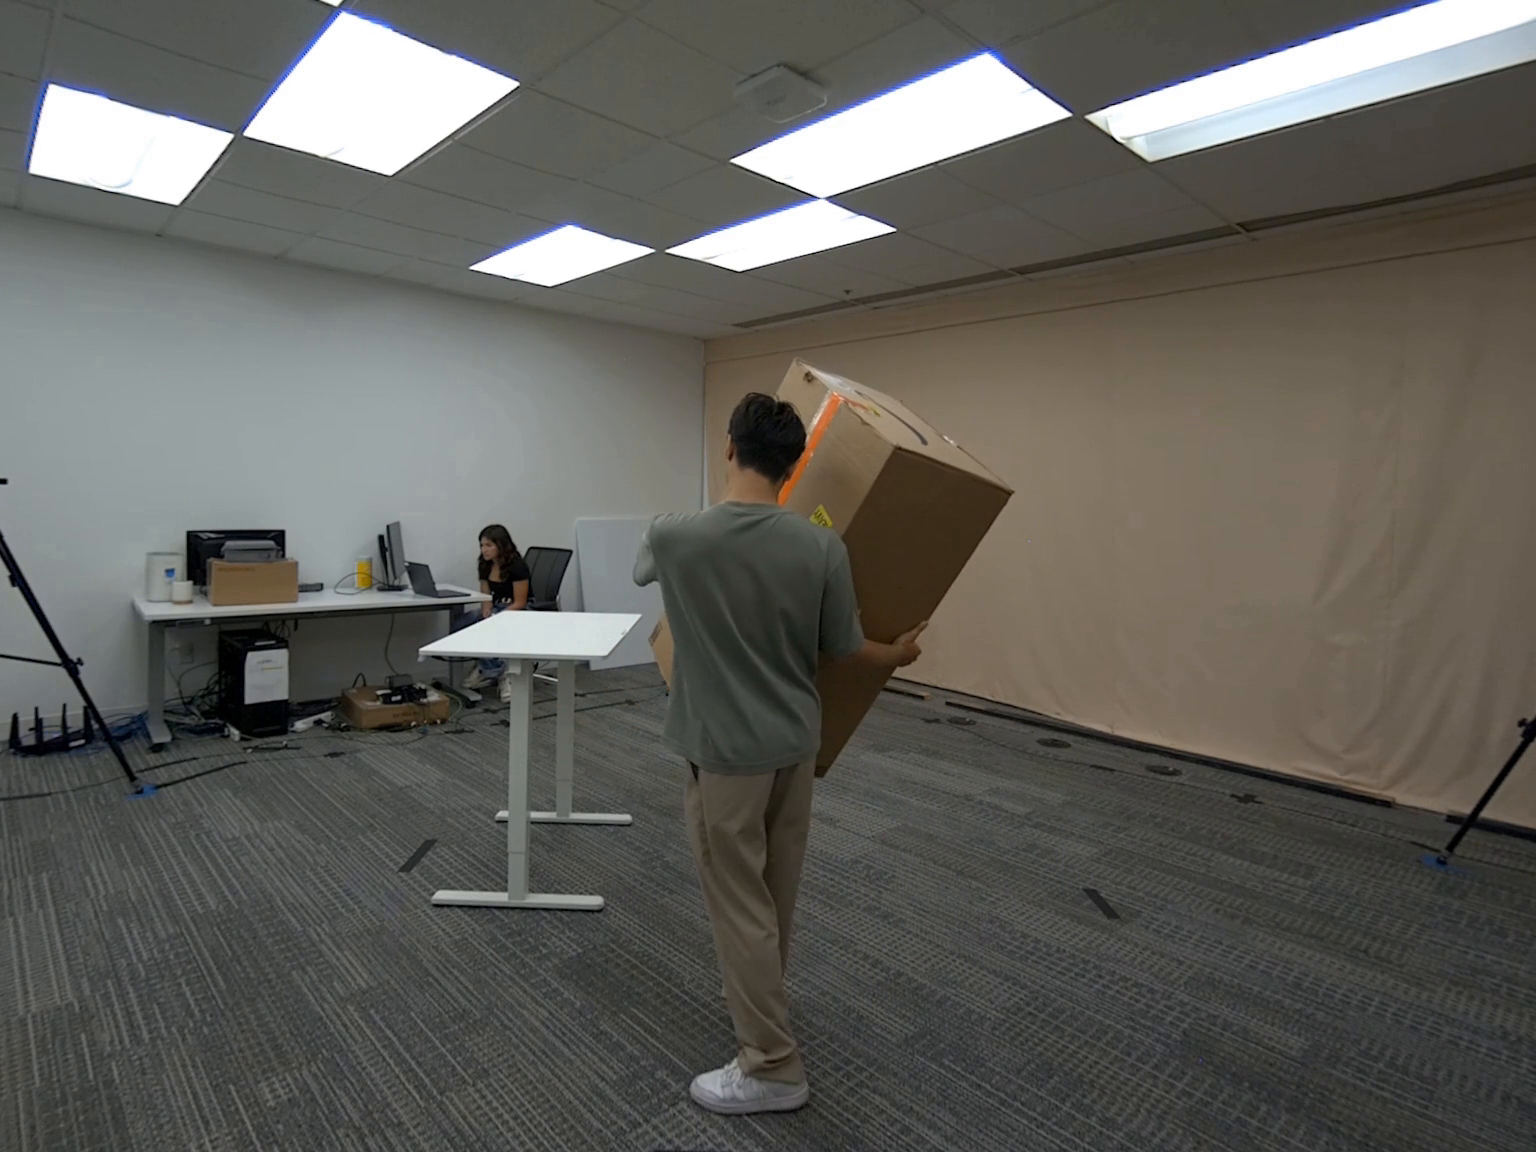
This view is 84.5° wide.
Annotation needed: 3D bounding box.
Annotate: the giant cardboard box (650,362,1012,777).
[{"bbox_3d":[0.111,0.000,2.436,0.415,1.020,0.596,15,26,-34],"label":"giant cardboard box"}]
